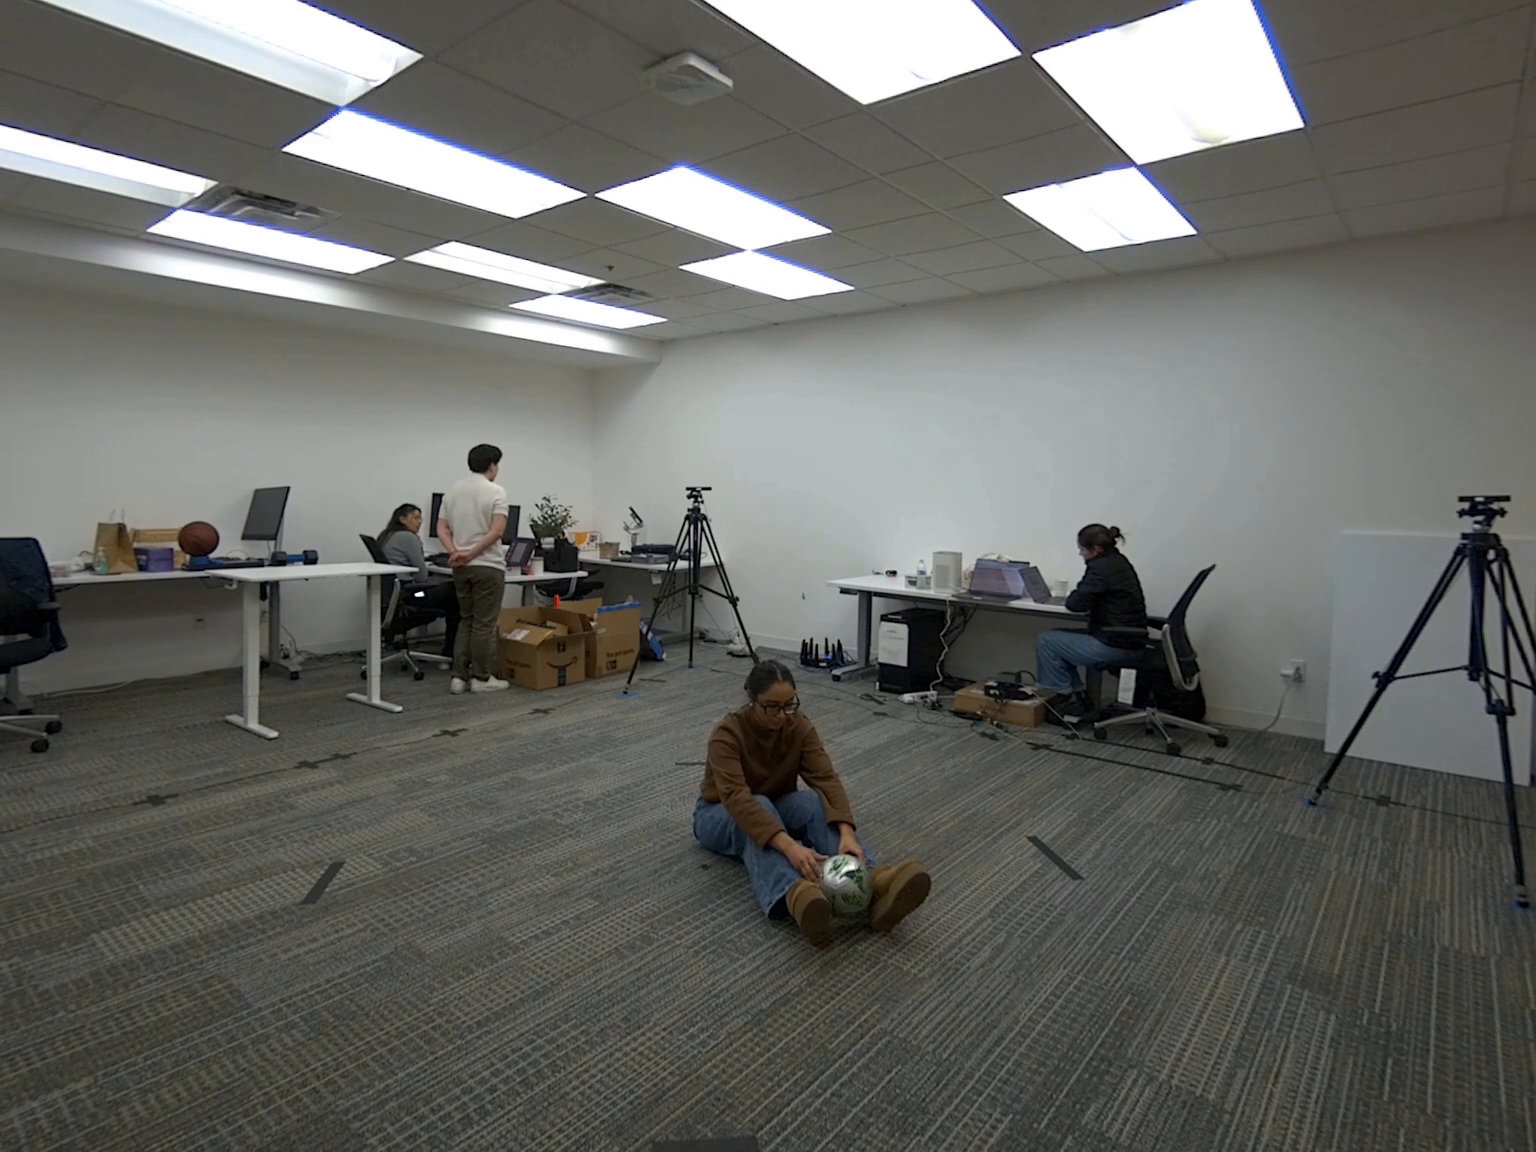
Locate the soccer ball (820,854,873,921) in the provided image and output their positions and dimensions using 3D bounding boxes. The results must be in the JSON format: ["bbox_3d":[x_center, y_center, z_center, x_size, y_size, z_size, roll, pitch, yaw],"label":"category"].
[{"bbox_3d":[0.226,0.987,2.690,0.187,0.187,0.188,1,4,-2],"label":"soccer ball"}]
